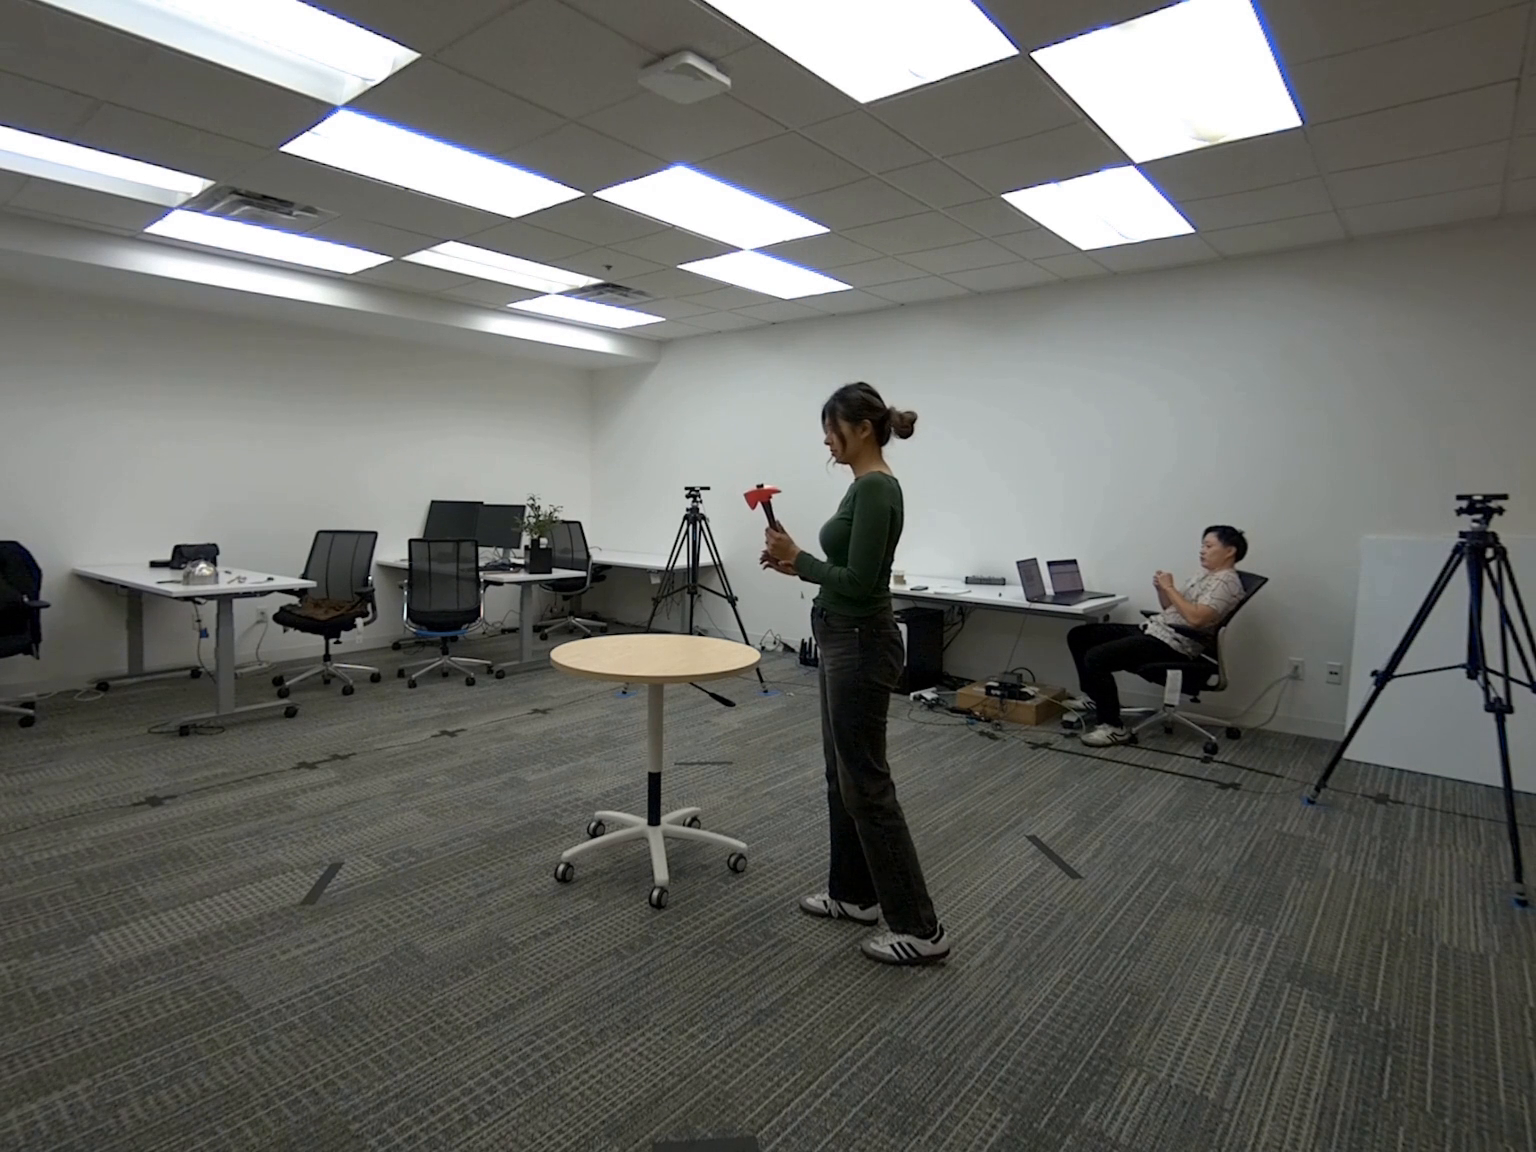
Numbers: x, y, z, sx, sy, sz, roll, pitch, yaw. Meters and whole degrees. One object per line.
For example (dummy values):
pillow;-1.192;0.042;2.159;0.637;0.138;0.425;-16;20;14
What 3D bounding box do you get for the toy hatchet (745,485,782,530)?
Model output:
toy hatchet;-0.027;-0.166;2.636;0.135;0.264;0.029;15;31;25
